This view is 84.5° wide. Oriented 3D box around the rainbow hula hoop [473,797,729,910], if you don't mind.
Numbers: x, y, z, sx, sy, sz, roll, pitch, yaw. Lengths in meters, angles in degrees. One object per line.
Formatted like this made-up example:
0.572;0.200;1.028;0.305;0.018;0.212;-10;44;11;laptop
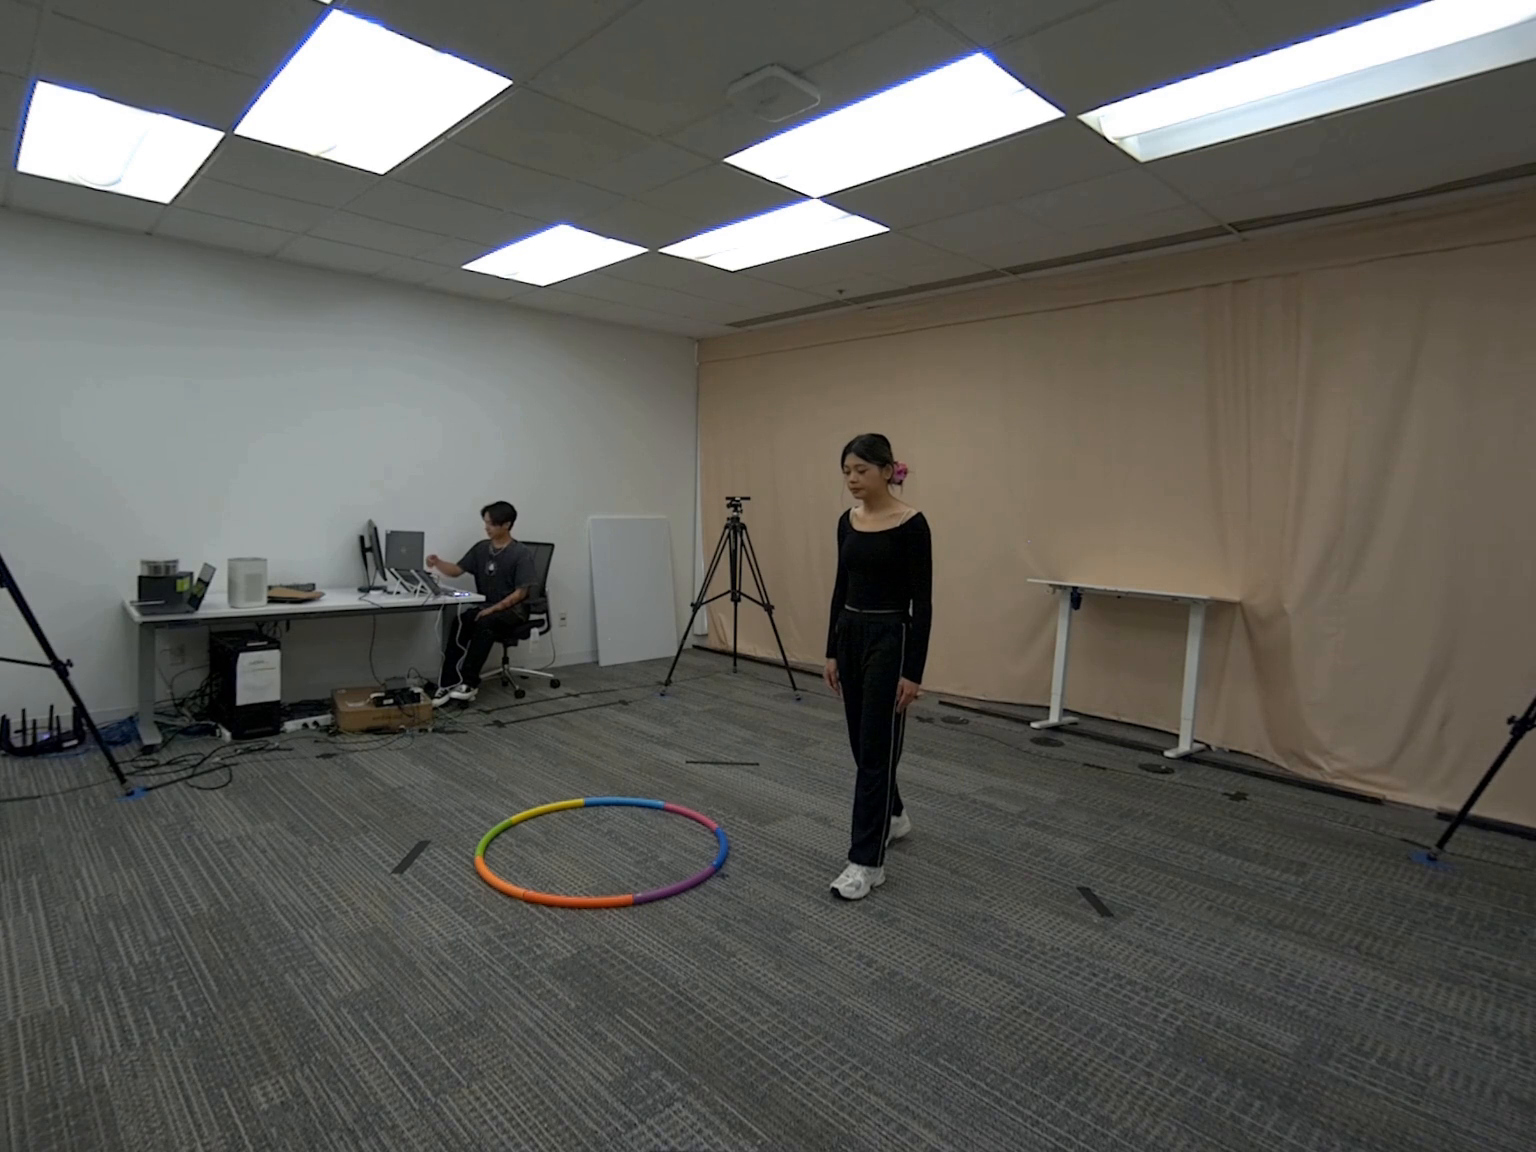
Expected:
-0.646;1.046;3.312;0.978;0.035;0.982;1;5;-1;rainbow hula hoop
